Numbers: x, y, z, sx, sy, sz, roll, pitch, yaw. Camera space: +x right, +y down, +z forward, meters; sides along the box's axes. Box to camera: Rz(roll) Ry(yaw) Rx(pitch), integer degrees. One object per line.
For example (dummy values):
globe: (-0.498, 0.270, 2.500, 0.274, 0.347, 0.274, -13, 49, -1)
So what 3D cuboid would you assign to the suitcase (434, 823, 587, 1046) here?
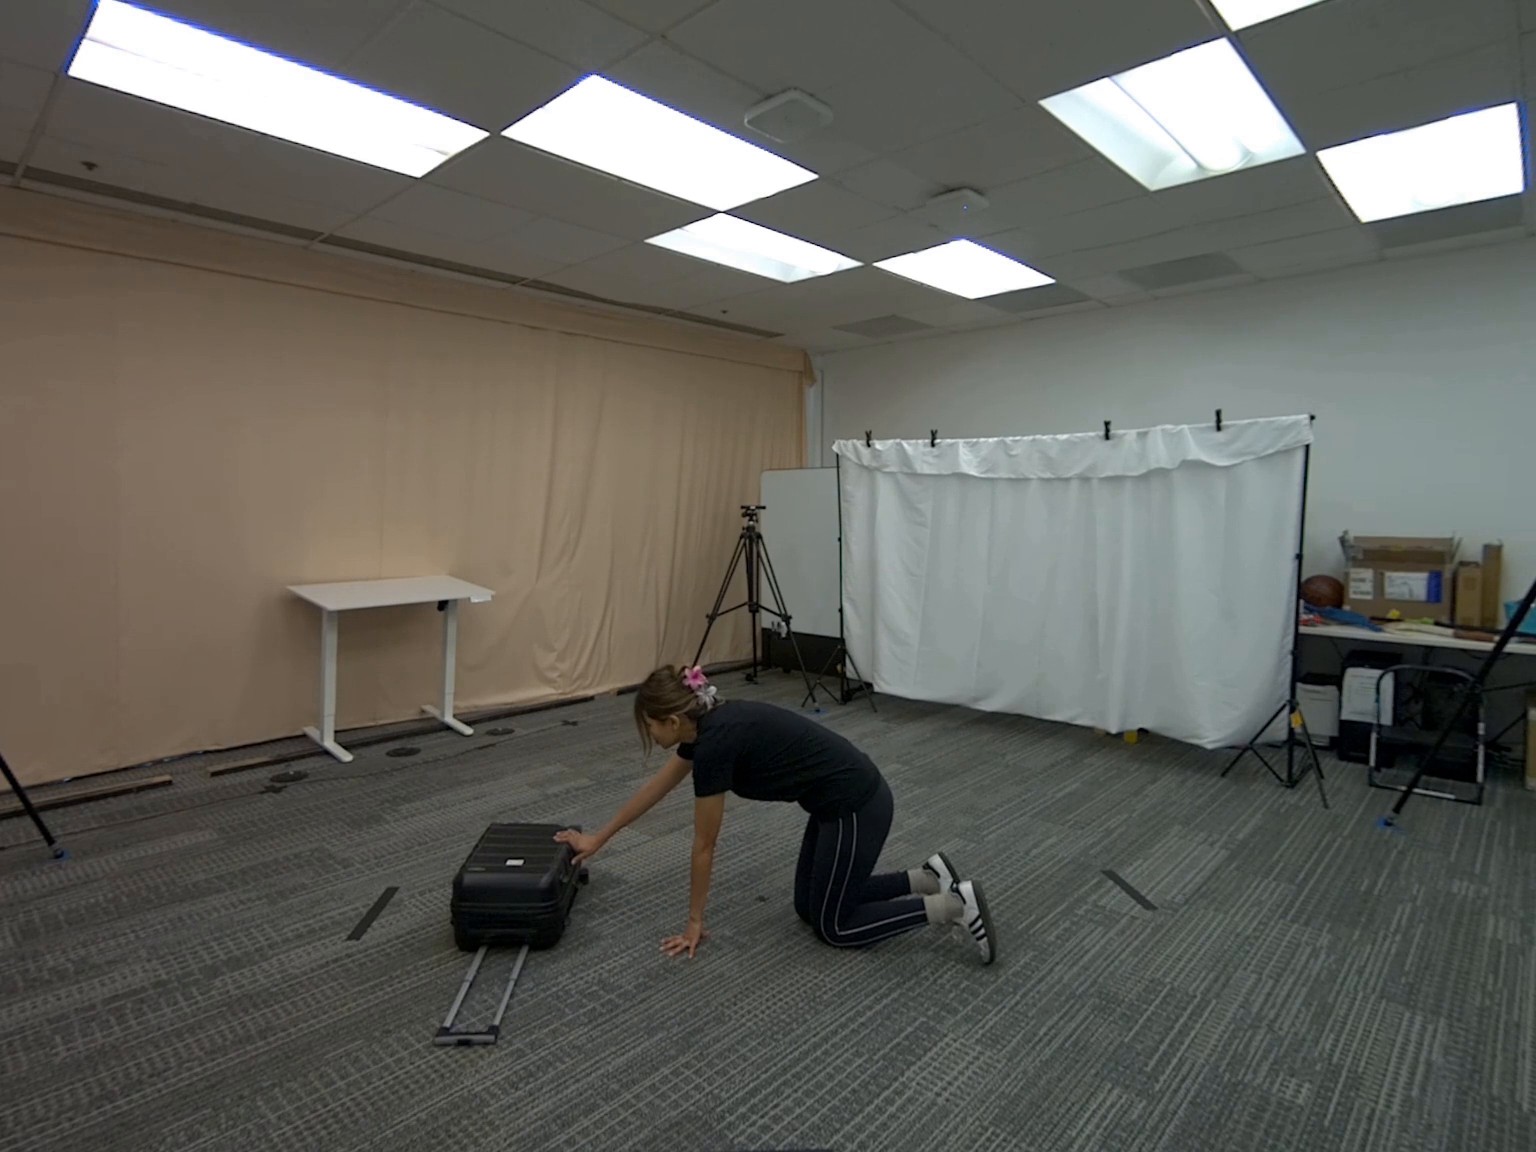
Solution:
suitcase: (-0.828, 1.055, 2.662, 0.383, 0.257, 0.982, 1, 2, -4)
